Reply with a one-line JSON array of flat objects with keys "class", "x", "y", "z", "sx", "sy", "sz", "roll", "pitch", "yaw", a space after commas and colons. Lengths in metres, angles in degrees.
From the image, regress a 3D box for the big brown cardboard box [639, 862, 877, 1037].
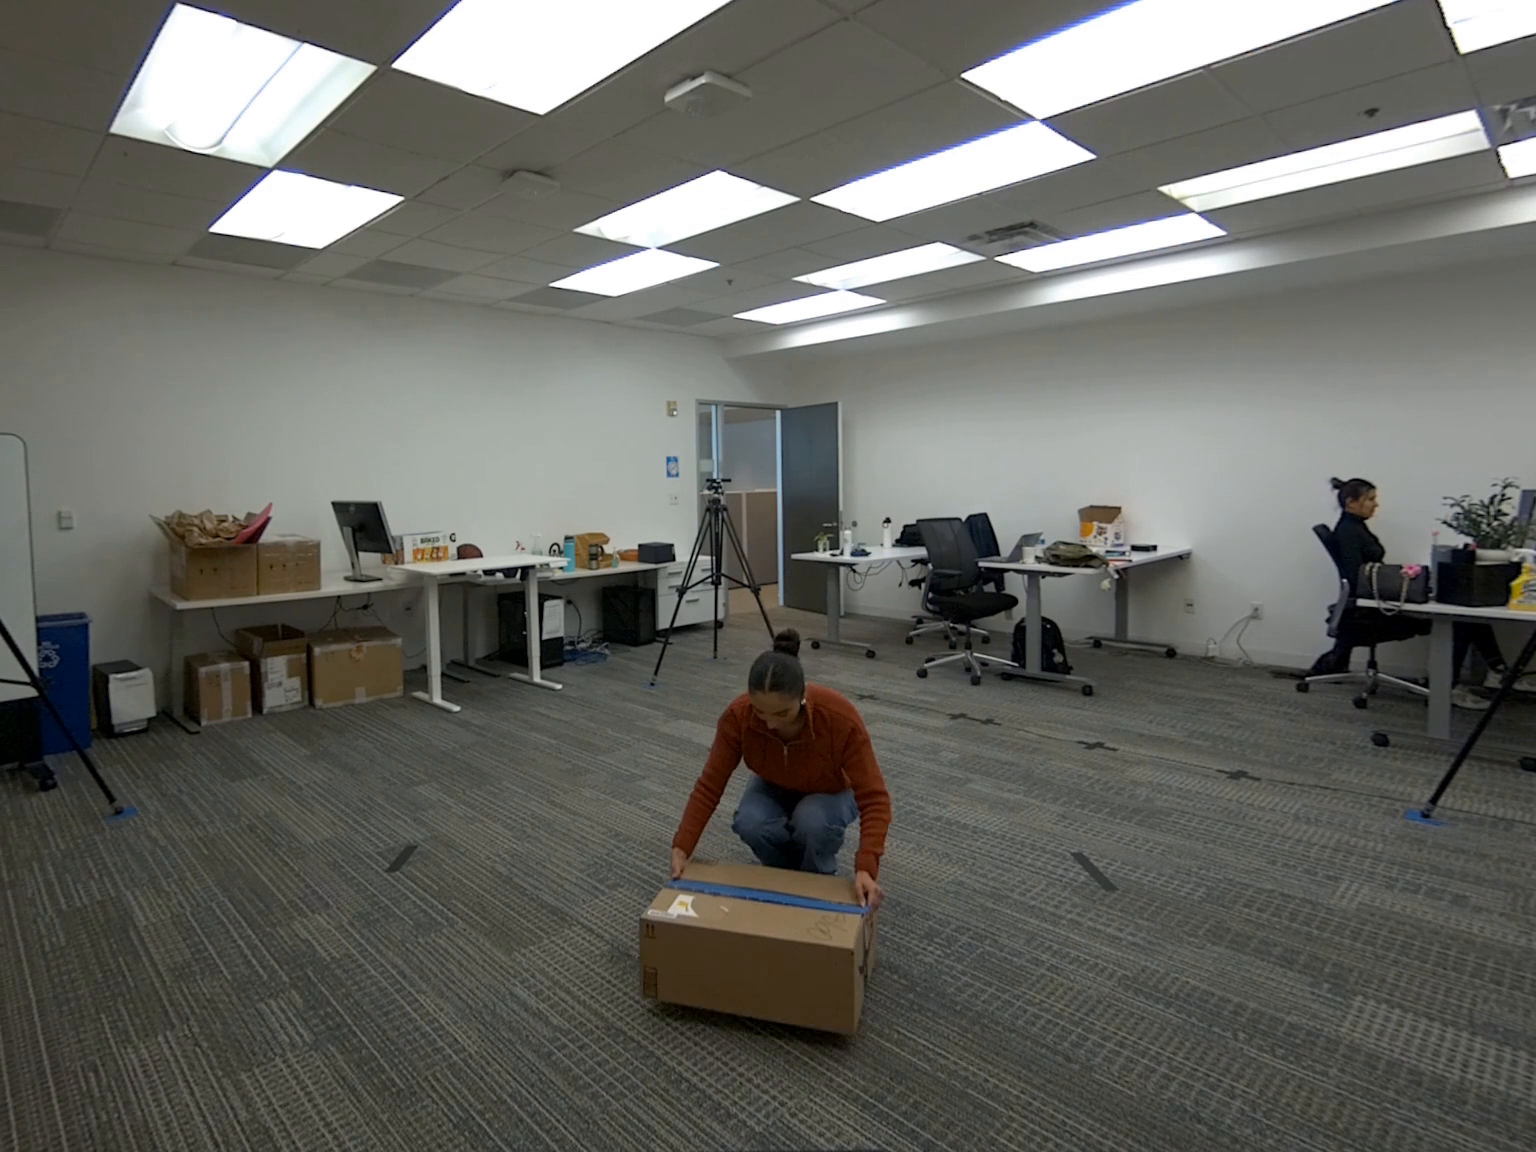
[{"class": "big brown cardboard box", "x": -0.016, "y": 0.974, "z": 2.341, "sx": 0.598, "sy": 0.232, "sz": 0.412, "roll": 2, "pitch": 4, "yaw": 16}]
